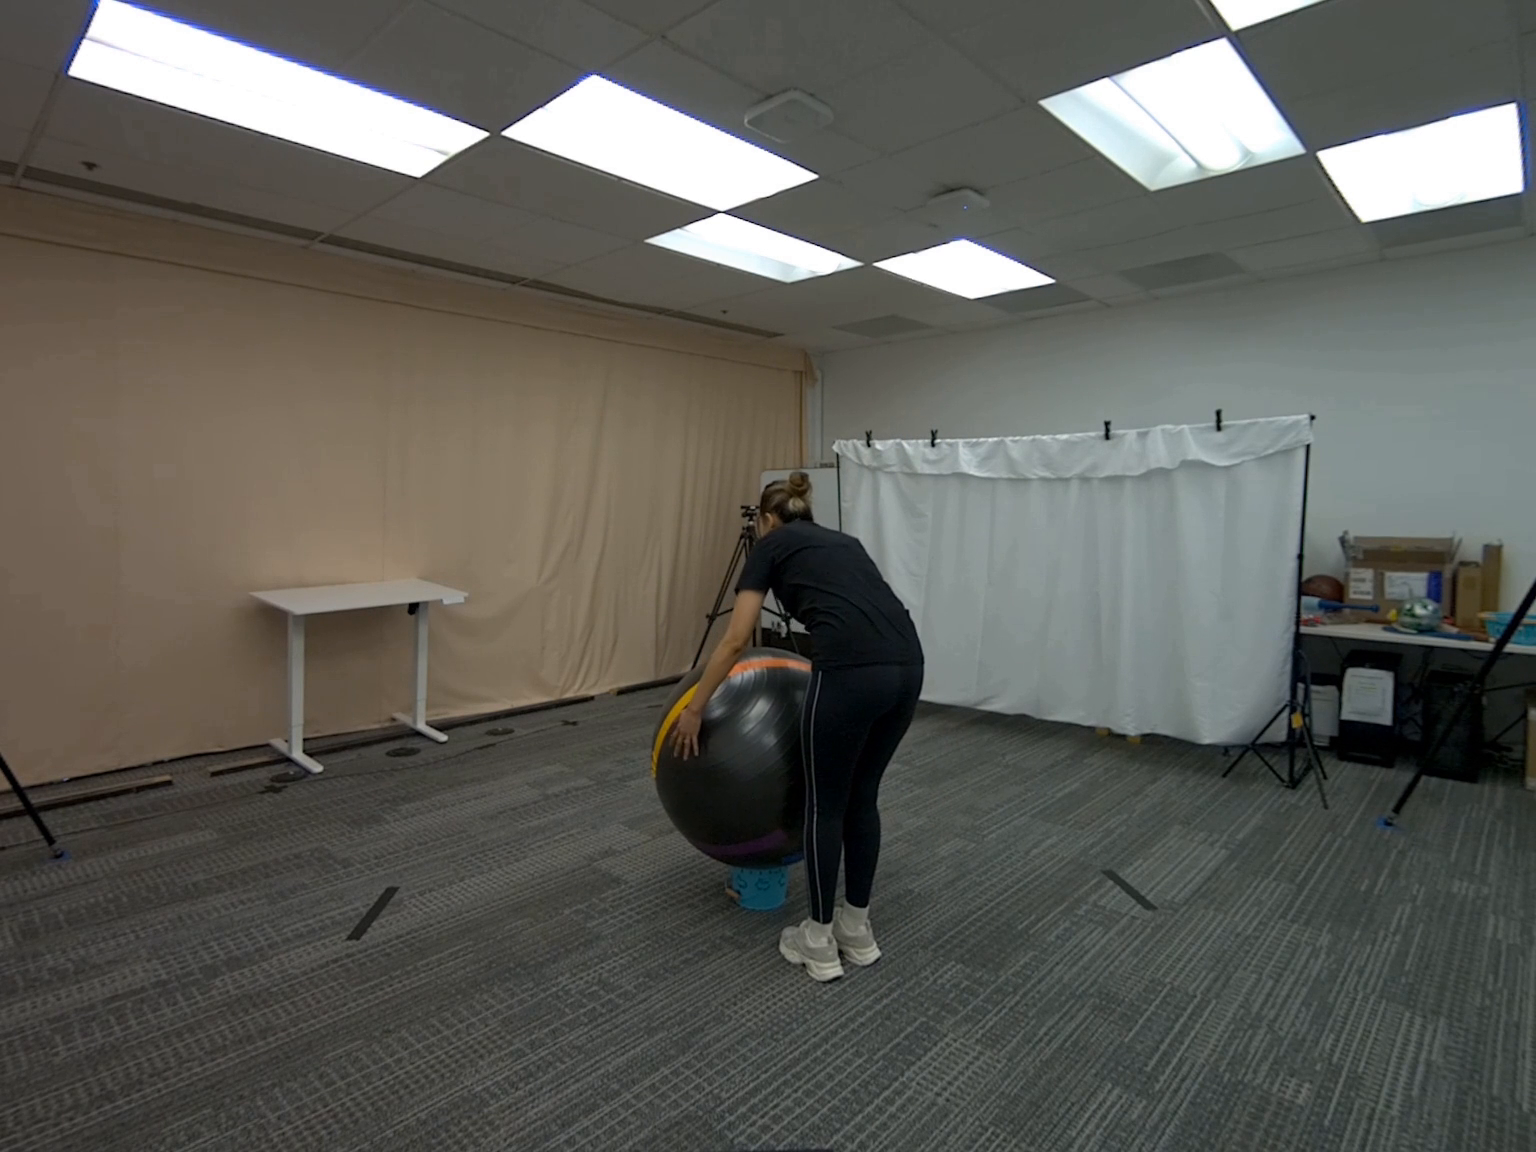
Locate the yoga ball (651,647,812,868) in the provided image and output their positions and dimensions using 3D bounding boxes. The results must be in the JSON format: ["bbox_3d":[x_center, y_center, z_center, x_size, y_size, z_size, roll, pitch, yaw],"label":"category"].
[{"bbox_3d":[-0.026,0.635,2.973,0.757,0.756,0.761,0,4,-2],"label":"yoga ball"}]
